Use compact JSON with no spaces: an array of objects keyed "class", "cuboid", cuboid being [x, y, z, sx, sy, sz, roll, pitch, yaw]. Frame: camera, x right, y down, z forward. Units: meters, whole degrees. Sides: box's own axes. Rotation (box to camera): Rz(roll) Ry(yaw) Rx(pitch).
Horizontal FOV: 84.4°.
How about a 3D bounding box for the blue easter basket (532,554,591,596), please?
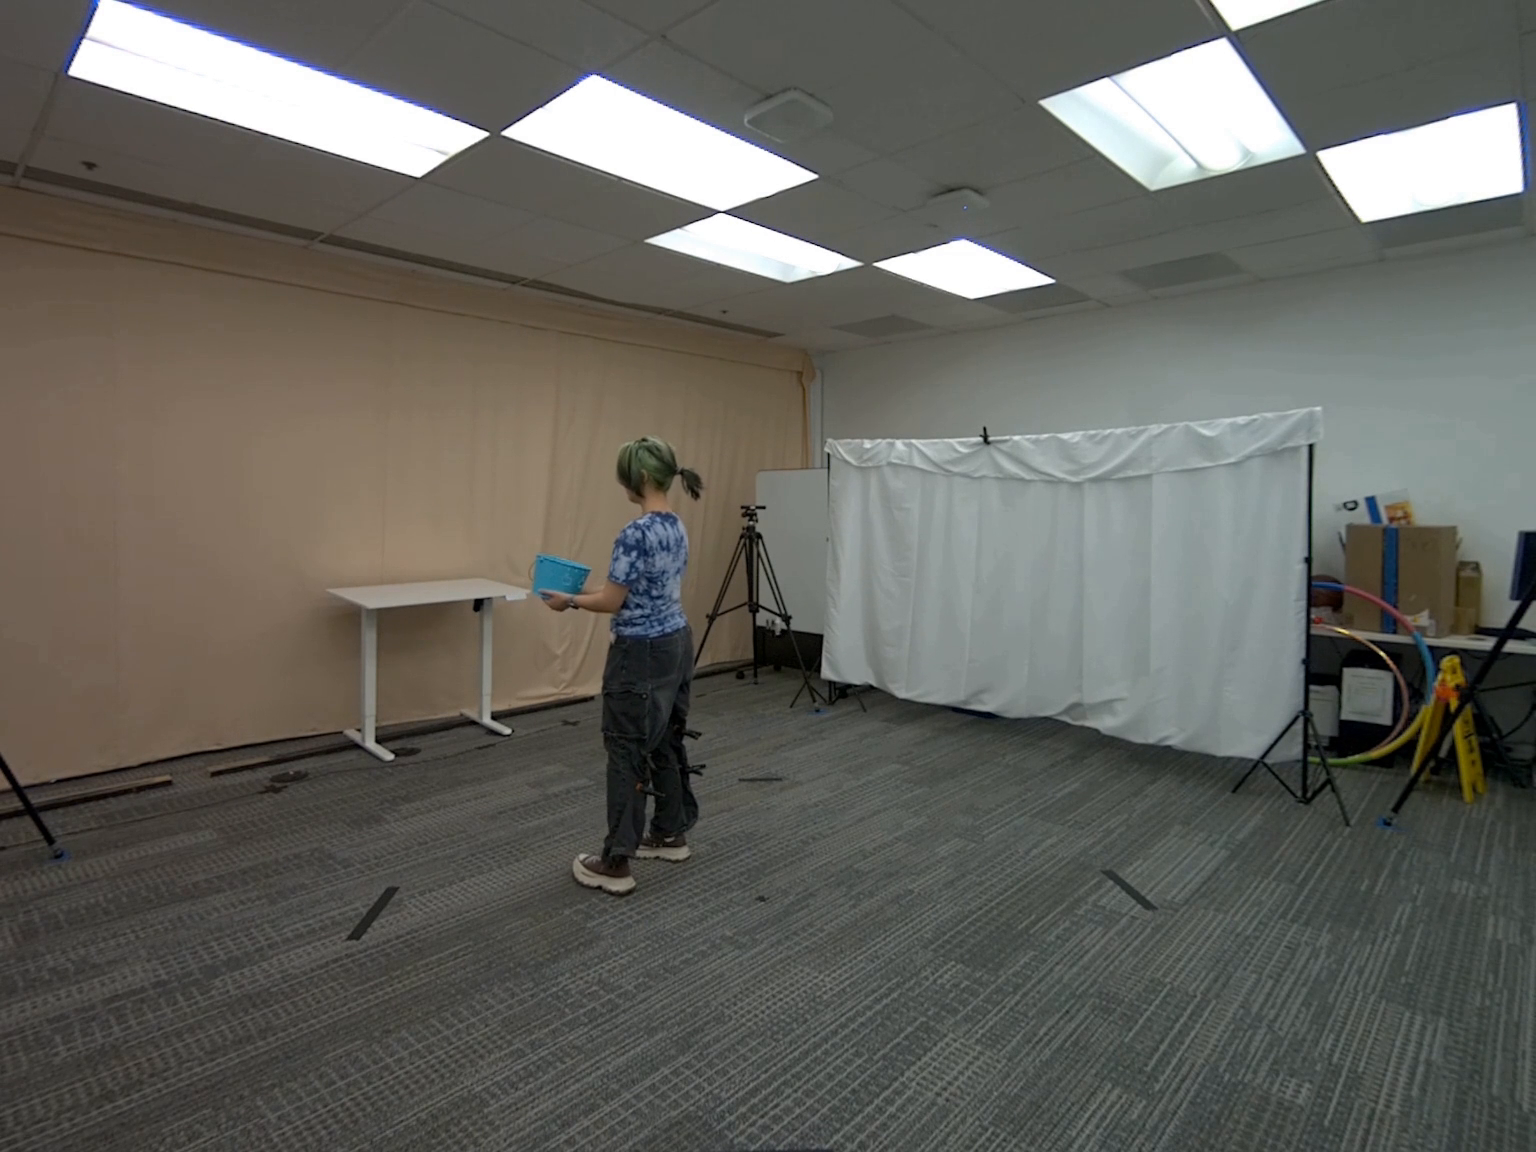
[{"class":"blue easter basket","cuboid":[-0.839,0.016,3.362,0.243,0.156,0.243,15,-2,-1]}]
